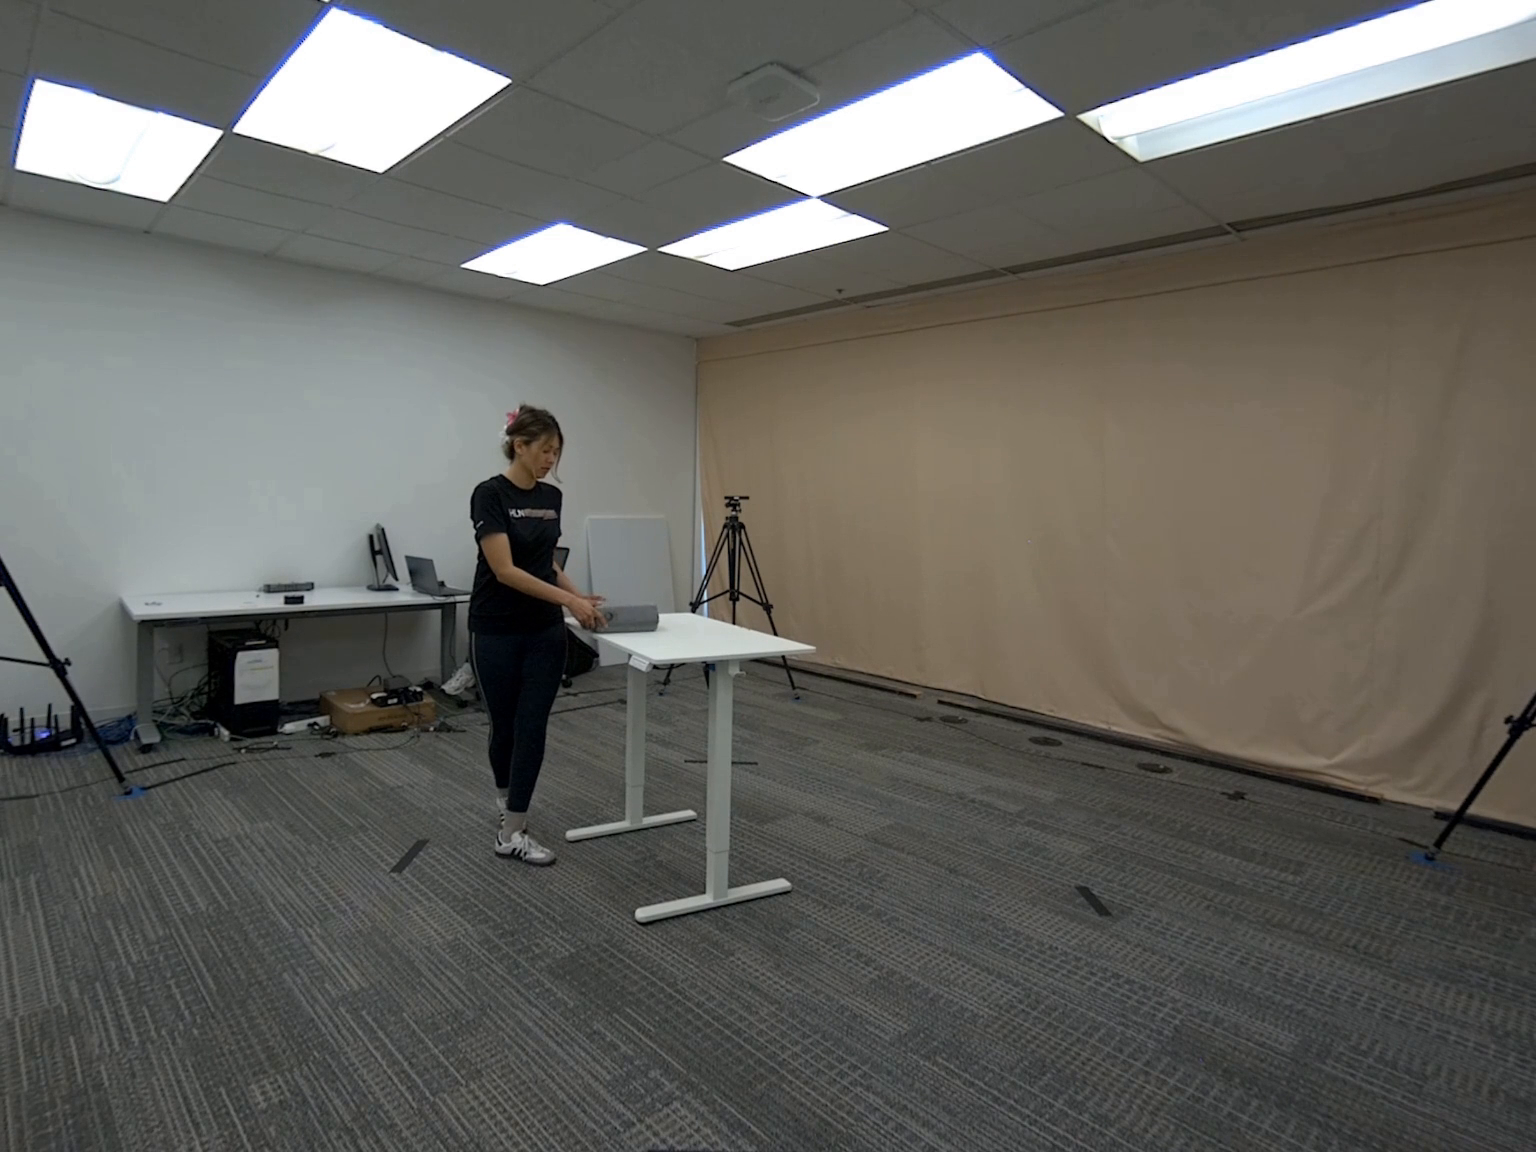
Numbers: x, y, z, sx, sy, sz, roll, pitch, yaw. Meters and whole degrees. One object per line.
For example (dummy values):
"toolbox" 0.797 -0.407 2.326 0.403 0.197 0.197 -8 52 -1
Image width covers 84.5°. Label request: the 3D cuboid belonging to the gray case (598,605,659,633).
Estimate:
"gray case" -0.578 0.148 3.216 0.256 0.104 0.262 -1 6 -24
